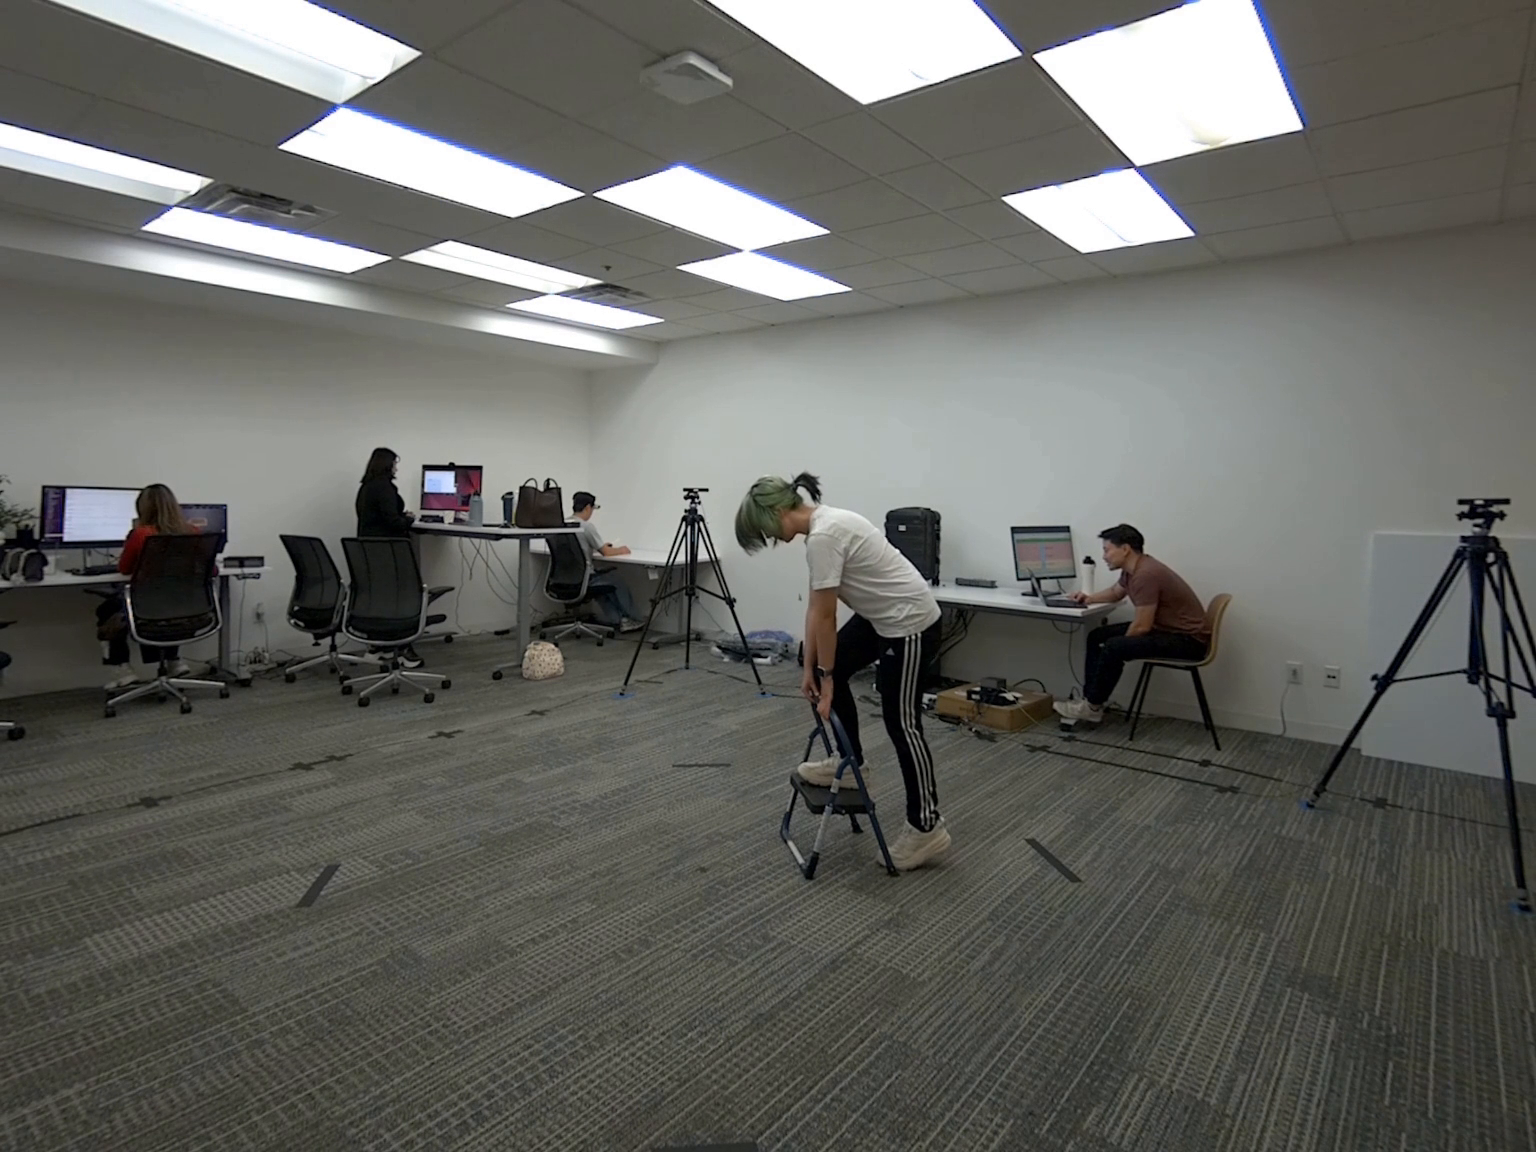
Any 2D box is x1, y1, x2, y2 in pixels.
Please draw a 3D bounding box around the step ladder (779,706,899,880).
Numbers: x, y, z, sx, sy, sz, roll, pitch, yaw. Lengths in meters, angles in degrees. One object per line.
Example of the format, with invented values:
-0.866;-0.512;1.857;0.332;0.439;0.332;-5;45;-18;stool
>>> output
0.258;0.767;3.256;0.345;0.604;0.437;1;4;-12;step ladder
